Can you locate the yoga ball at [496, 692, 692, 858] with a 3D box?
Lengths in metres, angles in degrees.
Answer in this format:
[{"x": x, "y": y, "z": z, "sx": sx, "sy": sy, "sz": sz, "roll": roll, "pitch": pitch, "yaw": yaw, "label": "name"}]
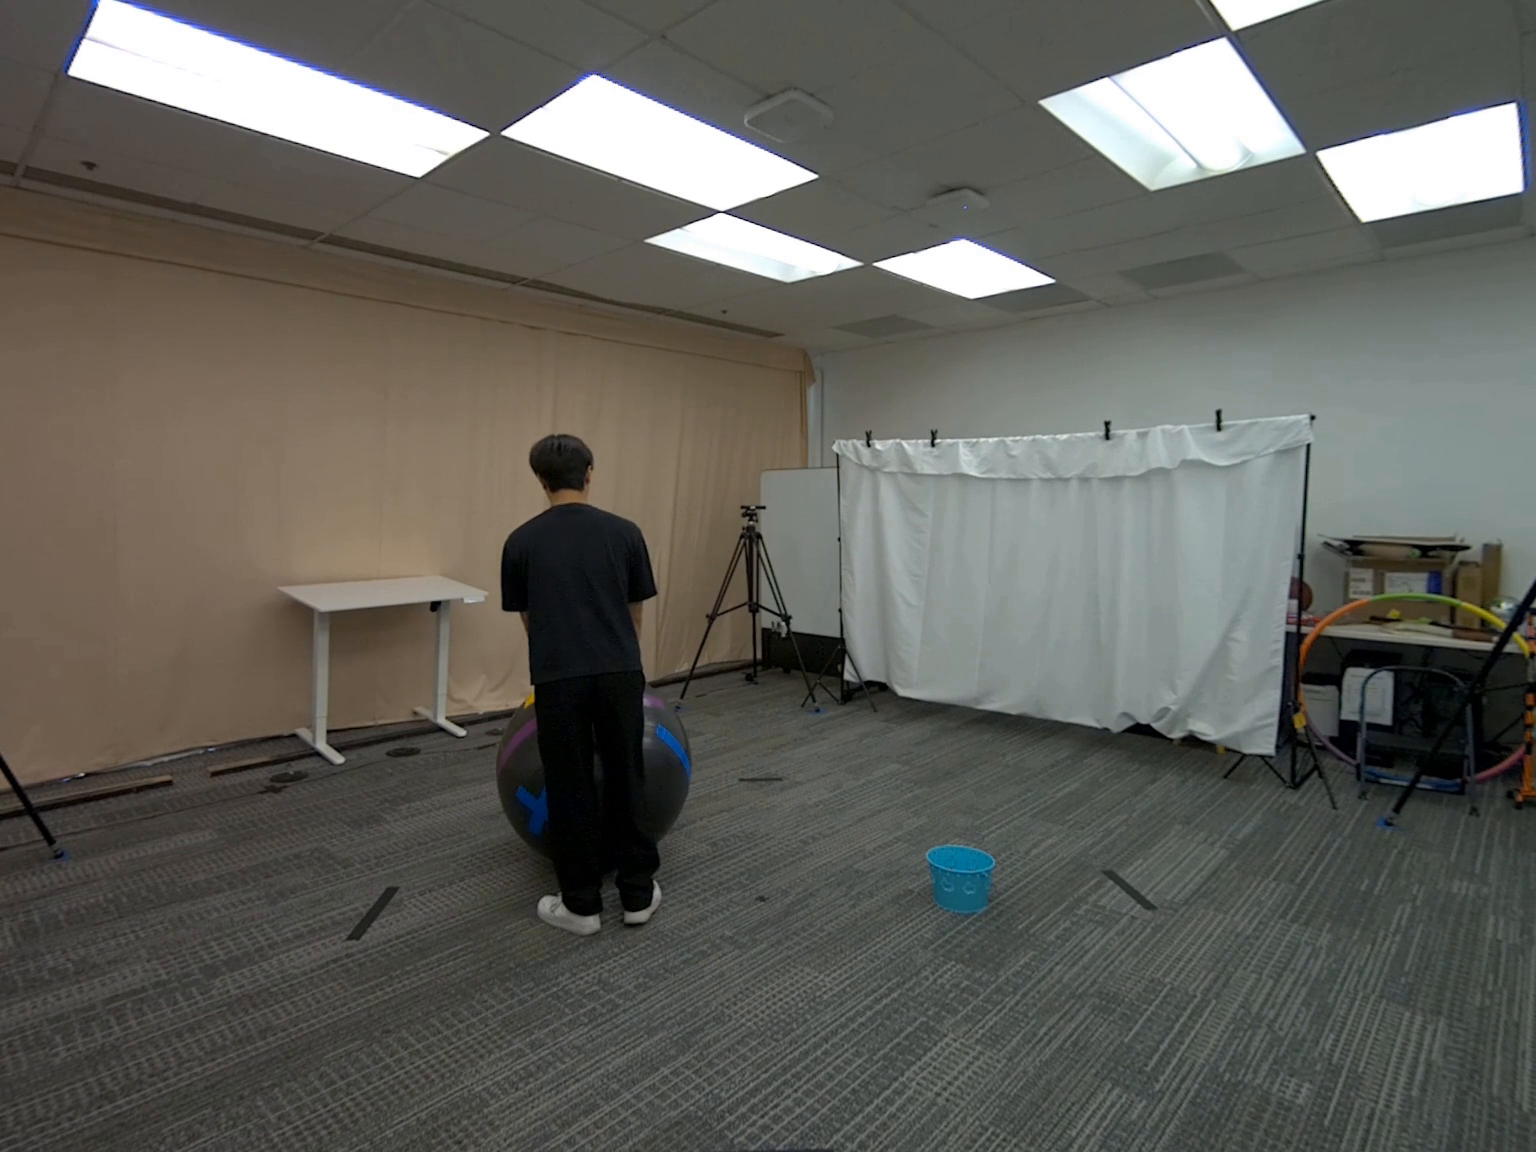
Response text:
[{"x": -0.687, "y": 0.756, "z": 3.329, "sx": 0.757, "sy": 0.756, "sz": 0.760, "roll": 0, "pitch": 4, "yaw": -2, "label": "yoga ball"}]
